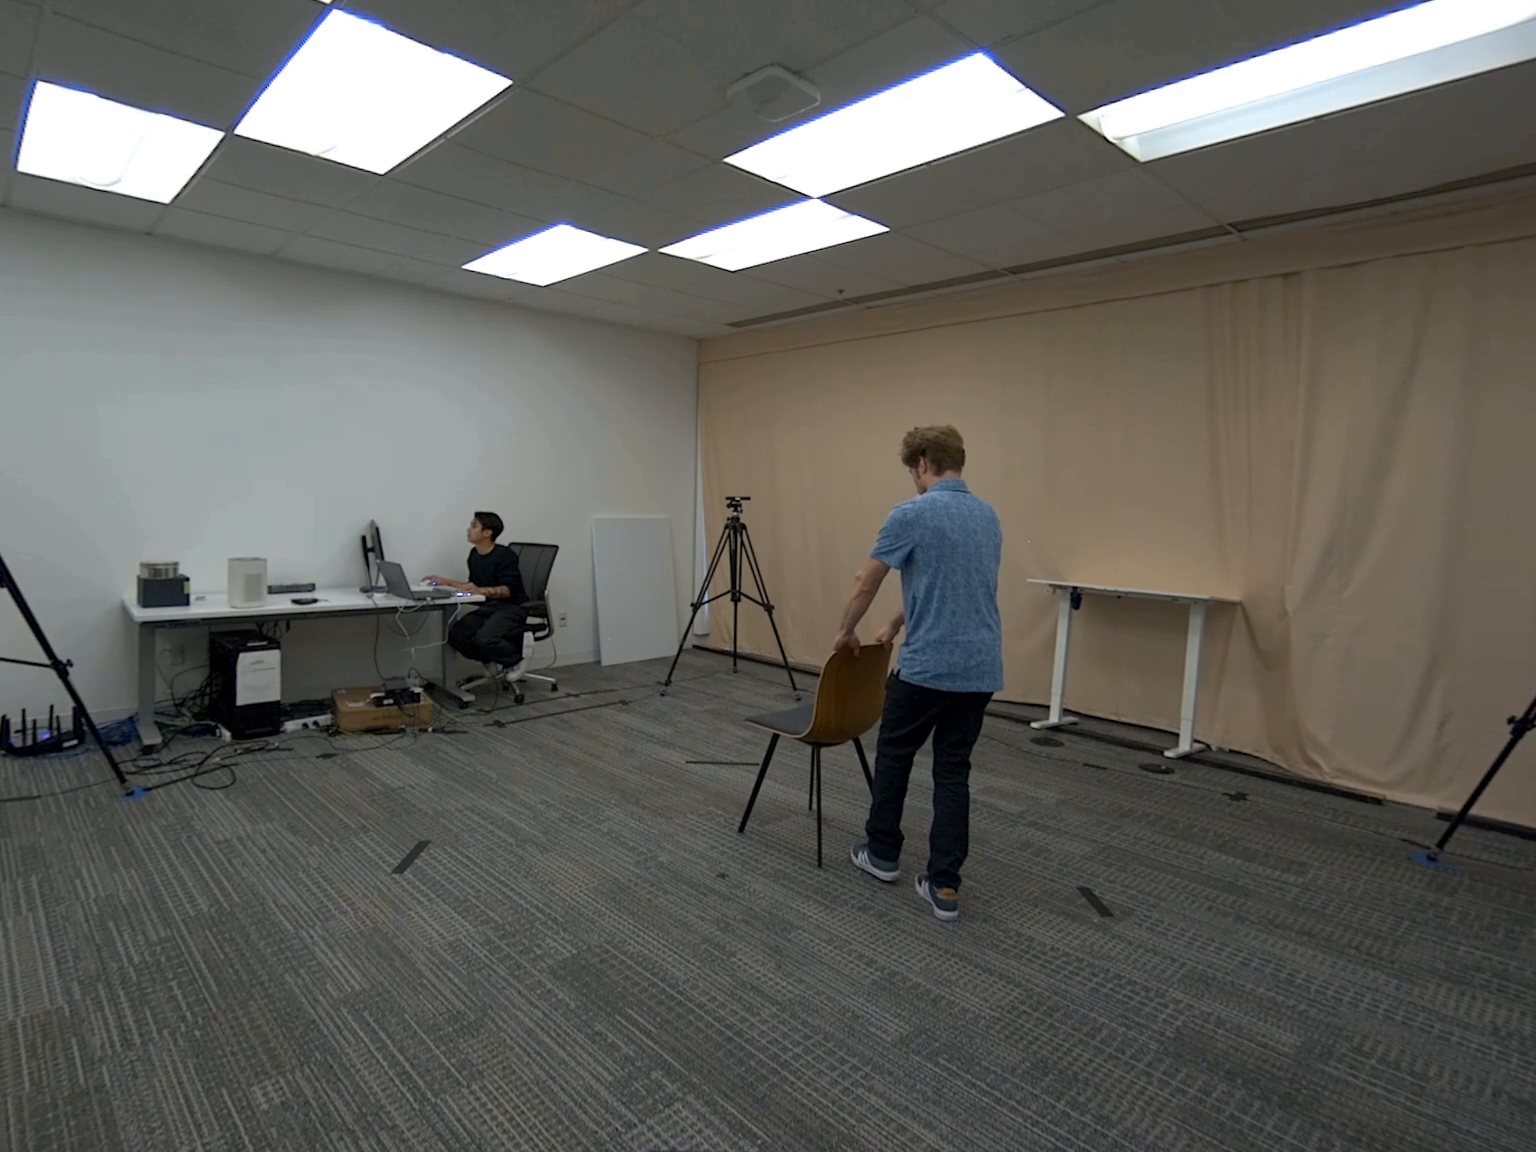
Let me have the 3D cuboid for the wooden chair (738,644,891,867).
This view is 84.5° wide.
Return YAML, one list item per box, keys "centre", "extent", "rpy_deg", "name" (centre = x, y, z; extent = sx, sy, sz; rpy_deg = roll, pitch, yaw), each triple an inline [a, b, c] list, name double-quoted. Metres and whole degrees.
- centre: [0.189, 0.652, 3.474]
  extent: [0.467, 0.874, 0.537]
  rpy_deg: [-2, 9, -44]
  name: "wooden chair"
